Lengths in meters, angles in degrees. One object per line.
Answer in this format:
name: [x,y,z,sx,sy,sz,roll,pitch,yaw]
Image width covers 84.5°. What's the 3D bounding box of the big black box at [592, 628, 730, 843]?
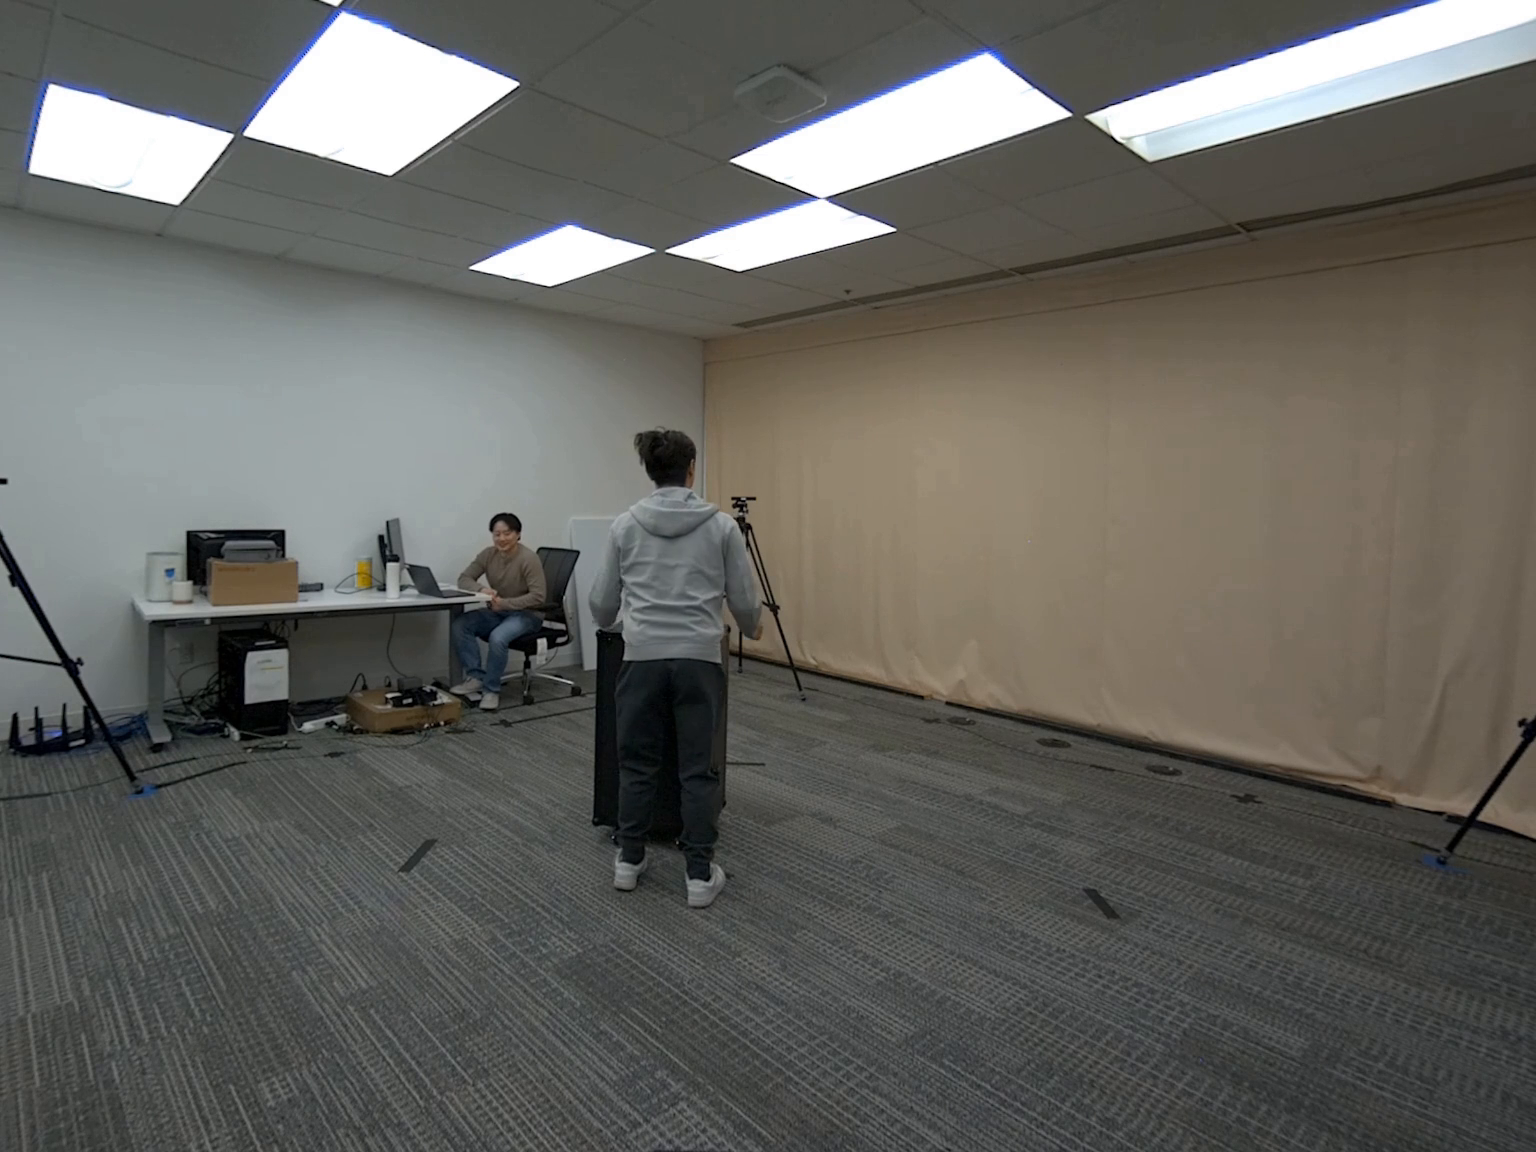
big black box: [-0.443,0.644,3.504,0.525,0.860,0.394,2,2,8]
